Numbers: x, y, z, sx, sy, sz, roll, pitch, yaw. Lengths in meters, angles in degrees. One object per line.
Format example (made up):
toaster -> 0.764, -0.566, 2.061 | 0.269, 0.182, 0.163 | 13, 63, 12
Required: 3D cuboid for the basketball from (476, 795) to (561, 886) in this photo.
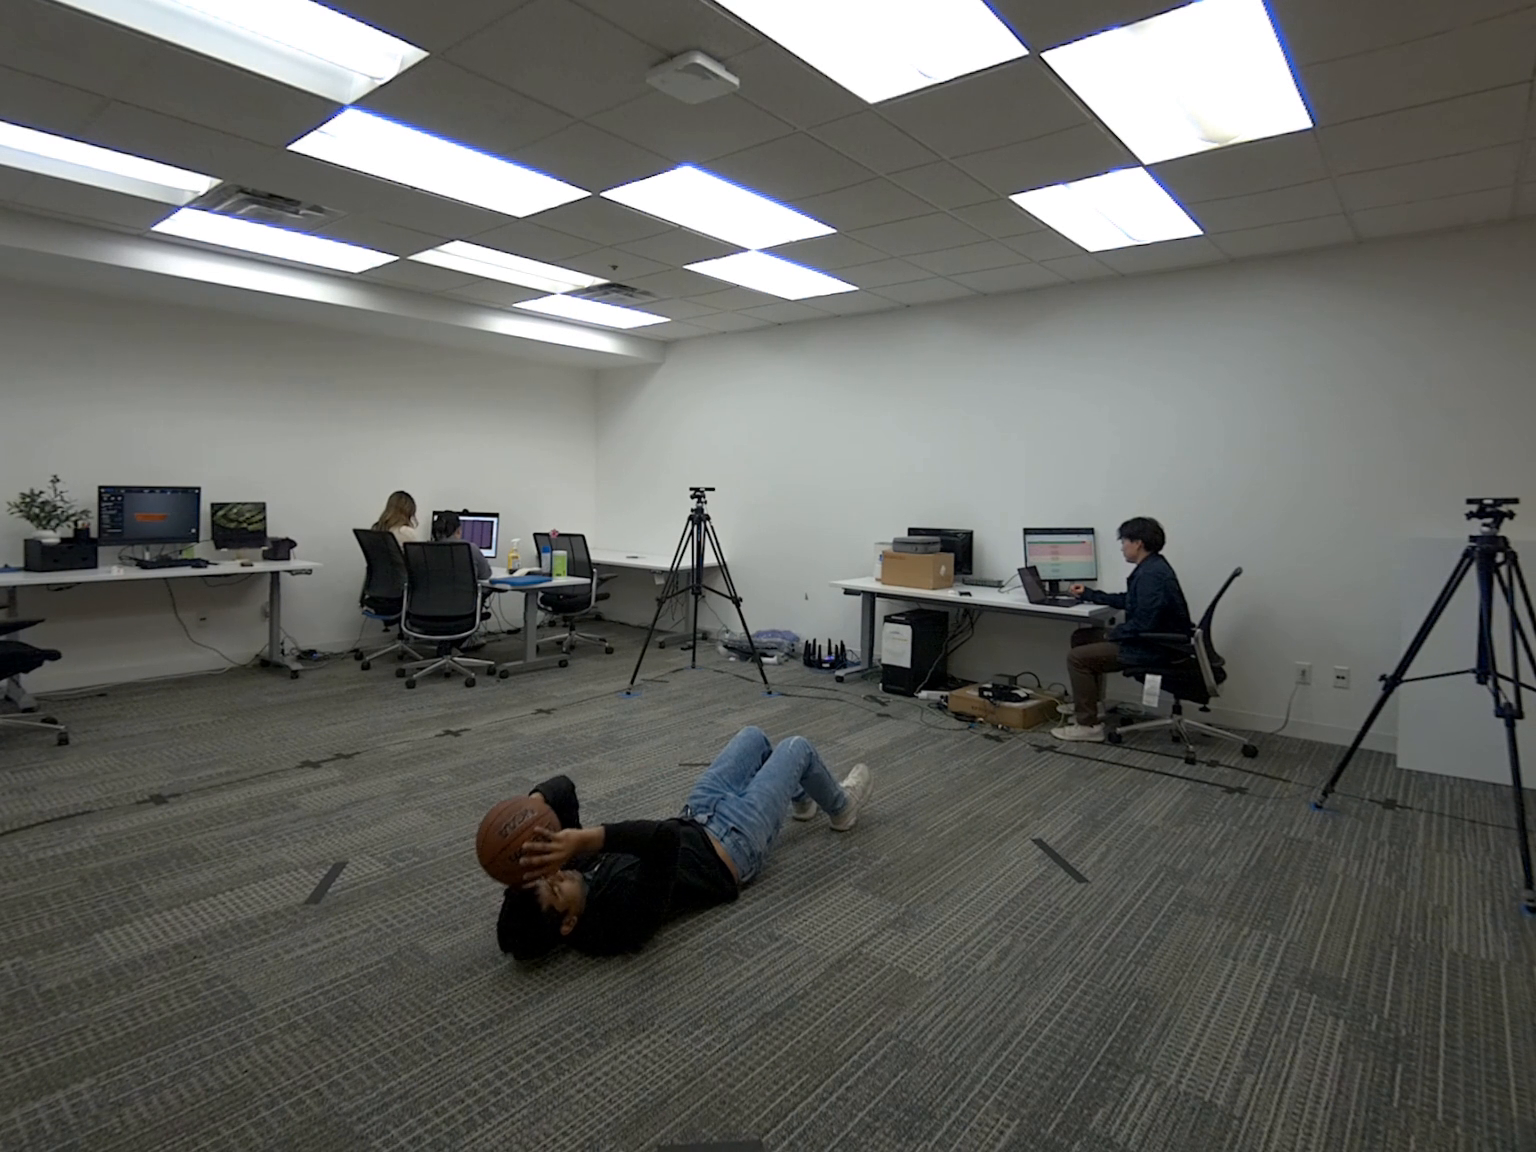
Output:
basketball -> -0.698, 0.735, 2.425 | 0.235, 0.235, 0.237 | 1, 4, -2
